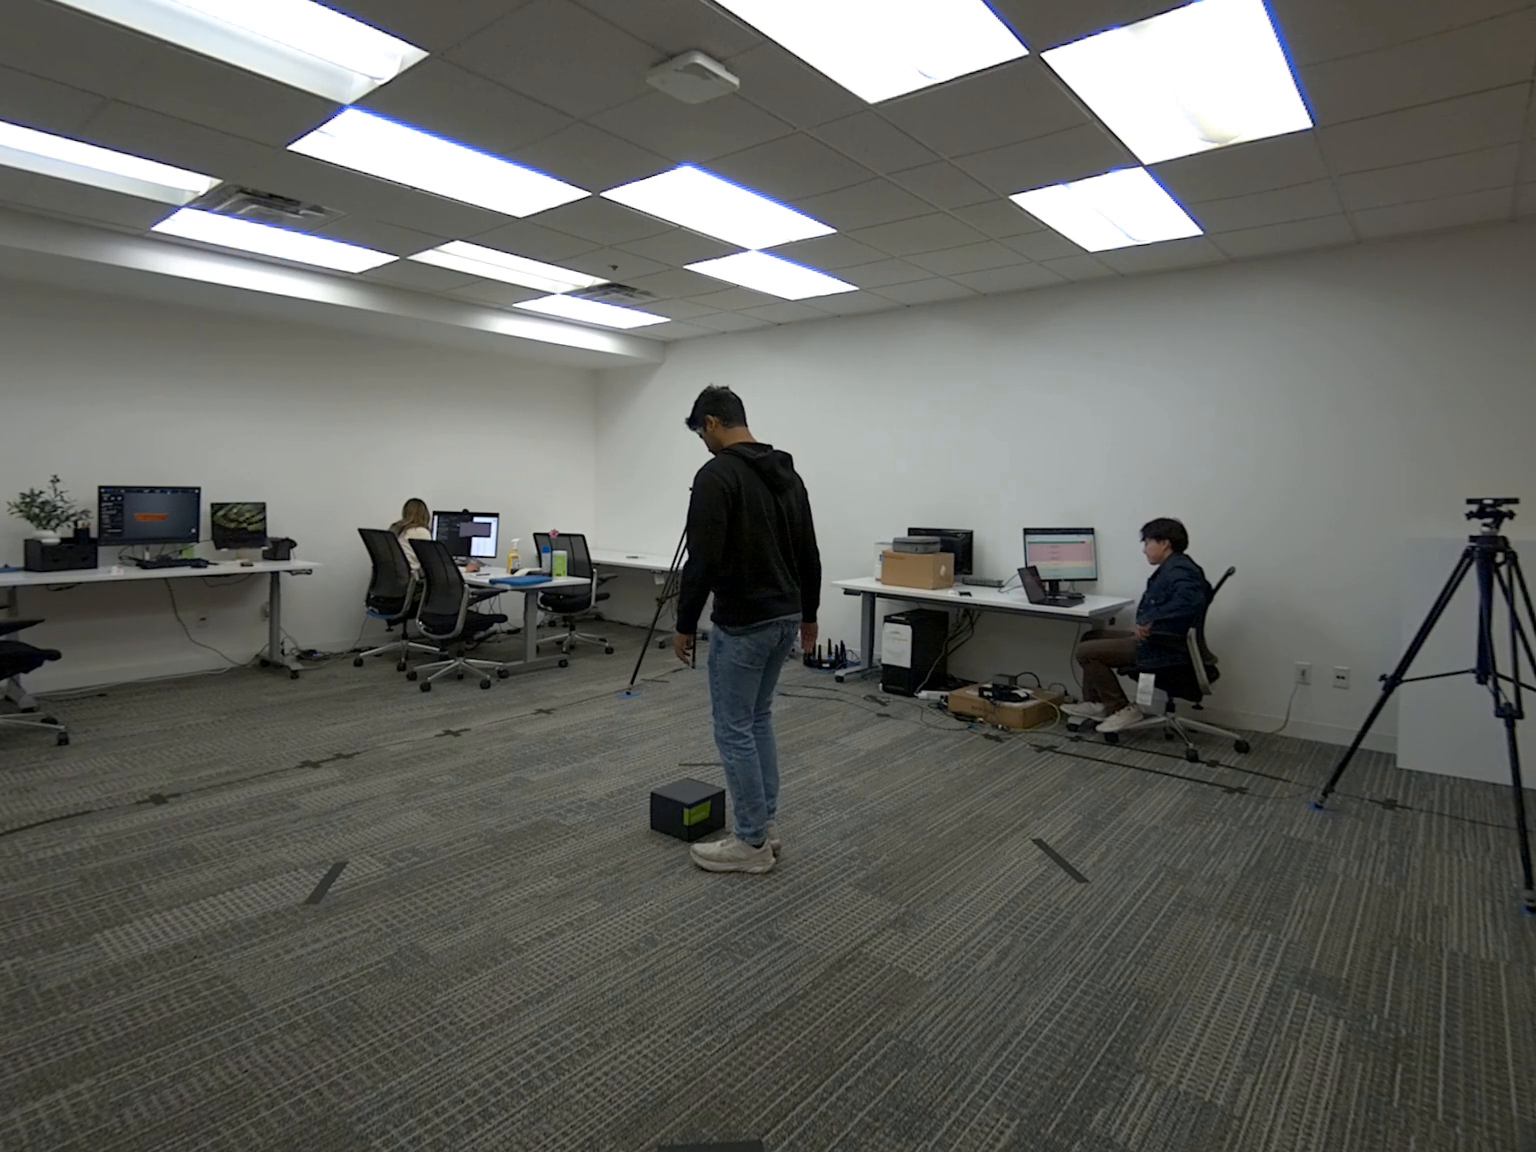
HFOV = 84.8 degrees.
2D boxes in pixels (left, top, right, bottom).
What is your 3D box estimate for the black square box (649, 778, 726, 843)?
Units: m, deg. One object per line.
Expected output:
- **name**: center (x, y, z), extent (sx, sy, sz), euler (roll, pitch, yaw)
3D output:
- **black square box**: center (-0.339, 0.944, 3.475), extent (0.224, 0.155, 0.221), euler (5, 6, 37)
